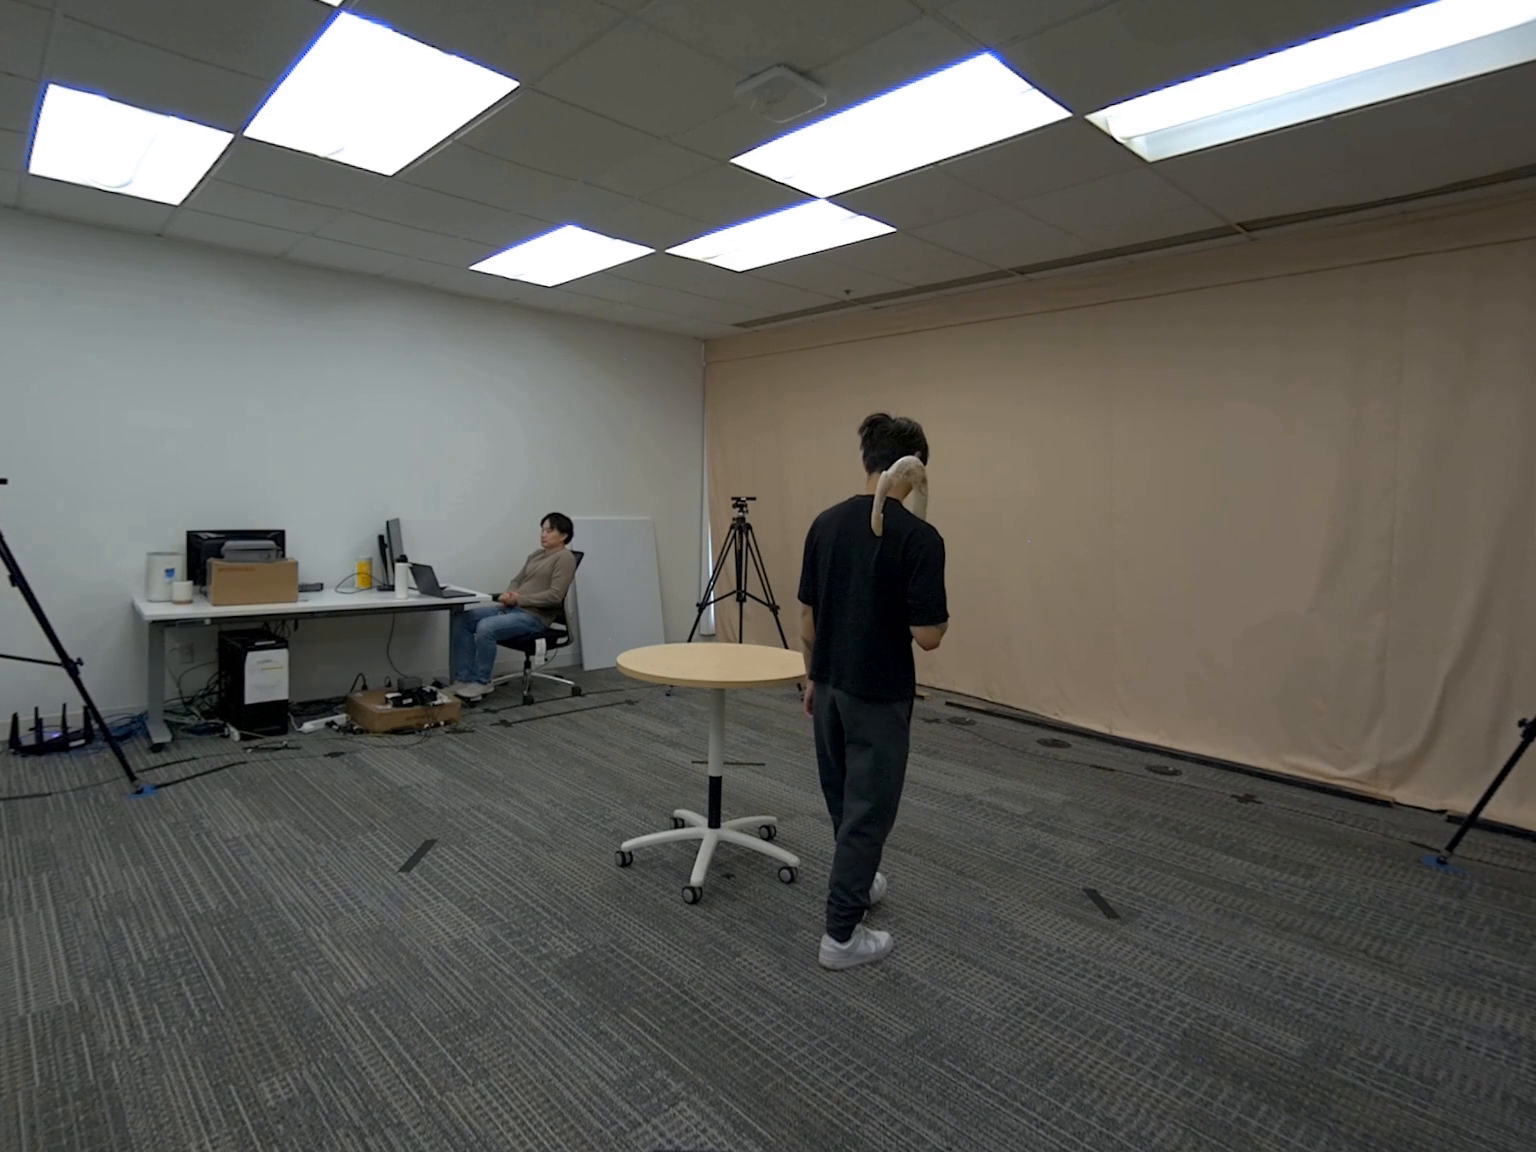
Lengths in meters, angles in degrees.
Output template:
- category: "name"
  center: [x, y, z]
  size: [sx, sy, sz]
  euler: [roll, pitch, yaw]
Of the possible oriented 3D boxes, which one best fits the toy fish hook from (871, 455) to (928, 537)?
- category: "toy fish hook"
  center: [0.385, -0.120, 2.469]
  size: [0.223, 0.493, 0.050]
  euler: [-33, 40, -20]
